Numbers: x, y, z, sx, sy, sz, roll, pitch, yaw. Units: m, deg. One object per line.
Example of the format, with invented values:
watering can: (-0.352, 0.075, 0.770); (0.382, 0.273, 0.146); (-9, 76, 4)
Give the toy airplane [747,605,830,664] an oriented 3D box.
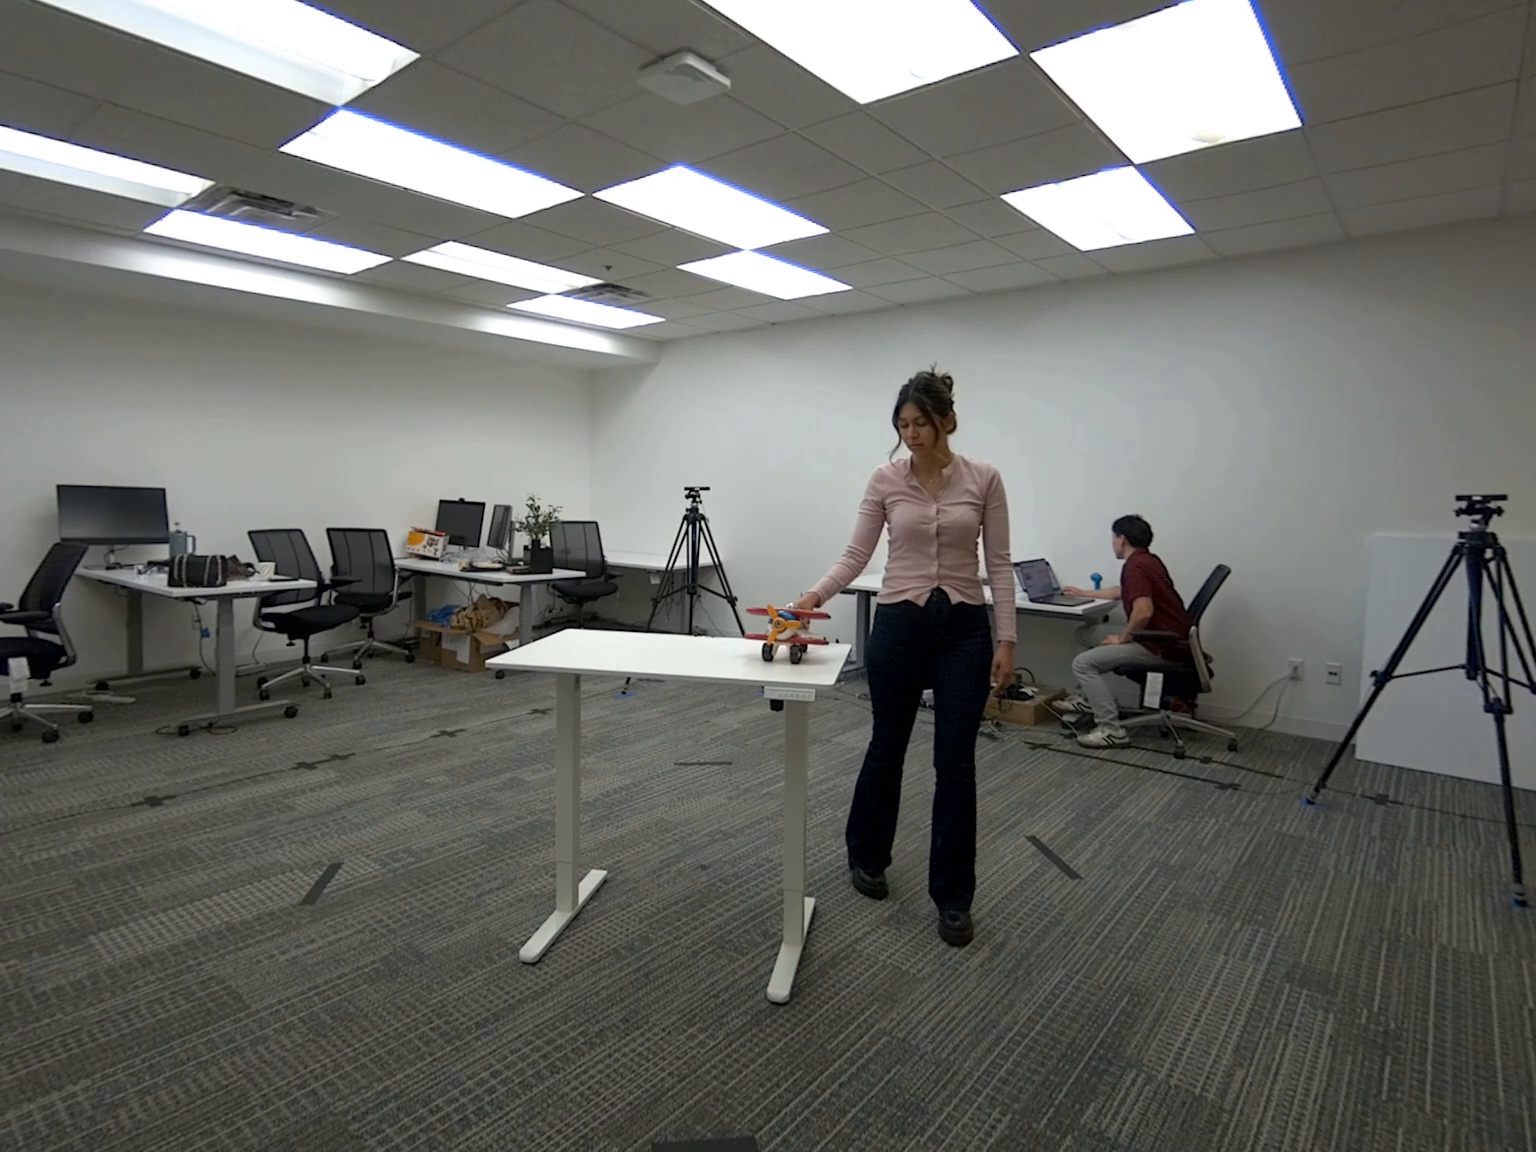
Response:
toy airplane: (0.041, 0.168, 2.569); (0.248, 0.155, 0.264); (1, 7, -11)
